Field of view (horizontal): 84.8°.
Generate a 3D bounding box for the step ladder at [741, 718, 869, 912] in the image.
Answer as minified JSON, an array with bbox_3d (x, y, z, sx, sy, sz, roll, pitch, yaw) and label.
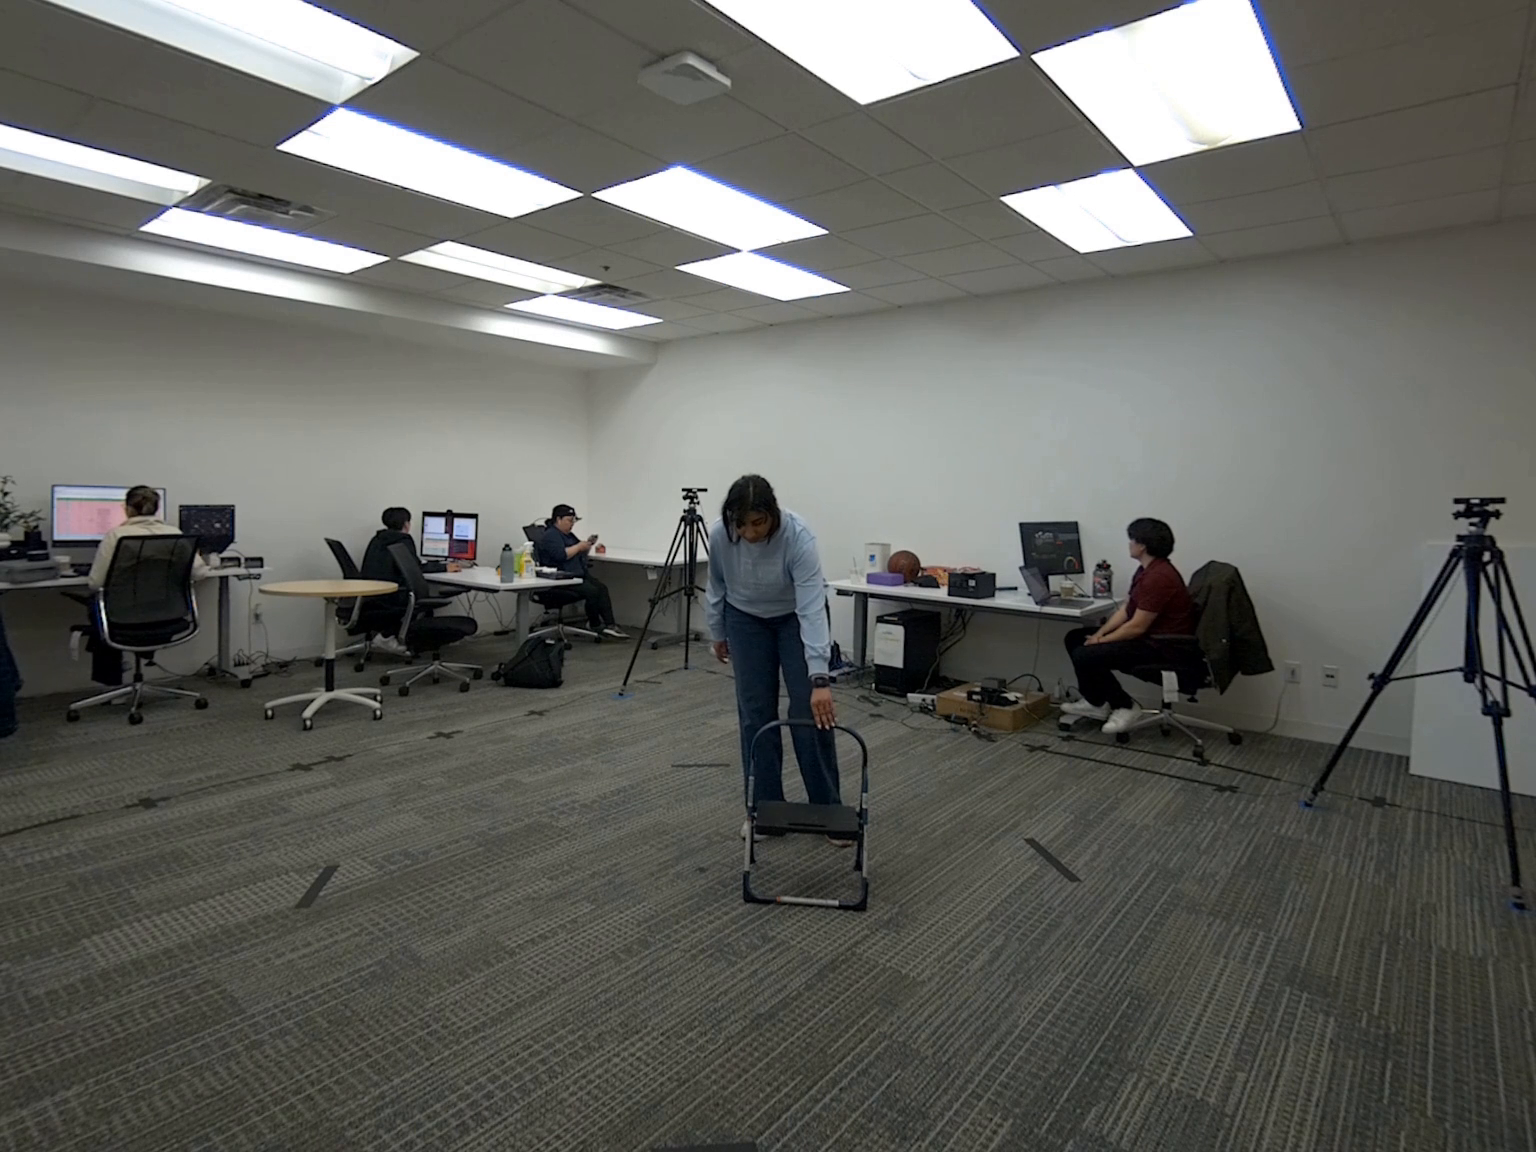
[{"bbox_3d":[0.132,0.787,2.996,0.433,0.605,0.348,1,3,4],"label":"step ladder"}]
